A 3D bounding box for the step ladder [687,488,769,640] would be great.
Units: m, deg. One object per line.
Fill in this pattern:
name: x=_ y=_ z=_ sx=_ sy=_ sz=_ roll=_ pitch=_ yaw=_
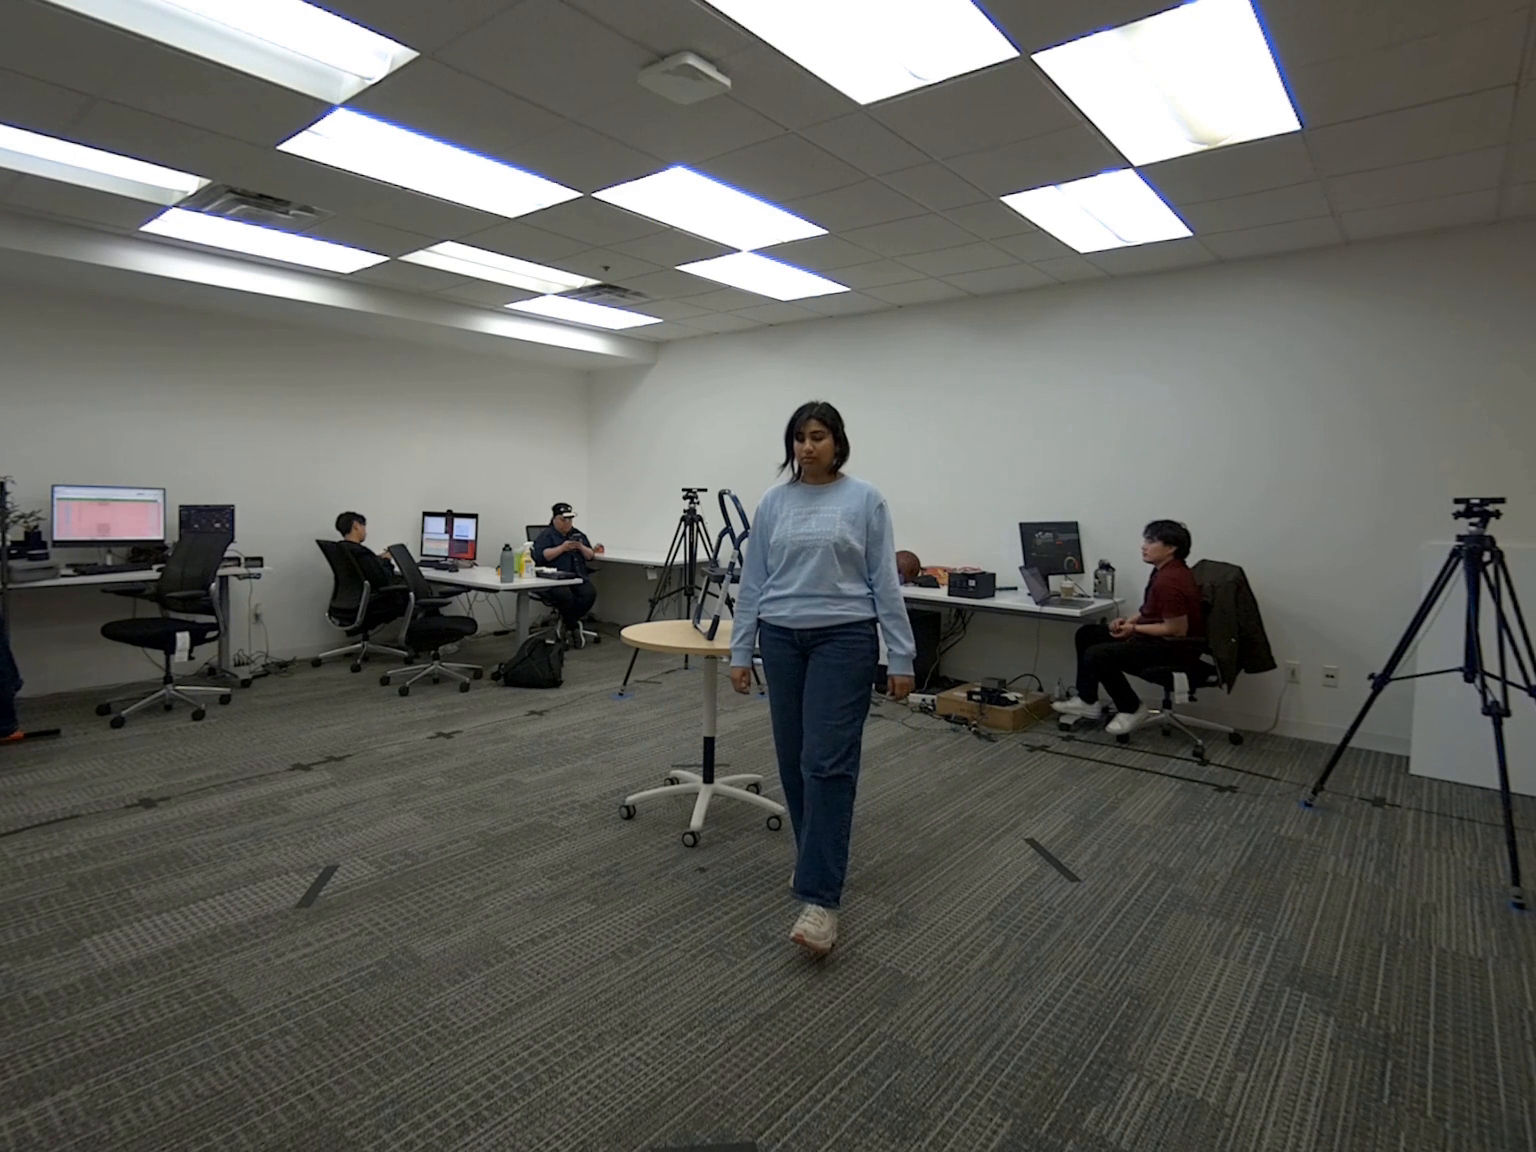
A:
step ladder: x=-0.127 y=-0.065 z=3.616 sx=0.344 sy=0.604 sz=0.438 roll=2 pitch=3 yaw=-14
